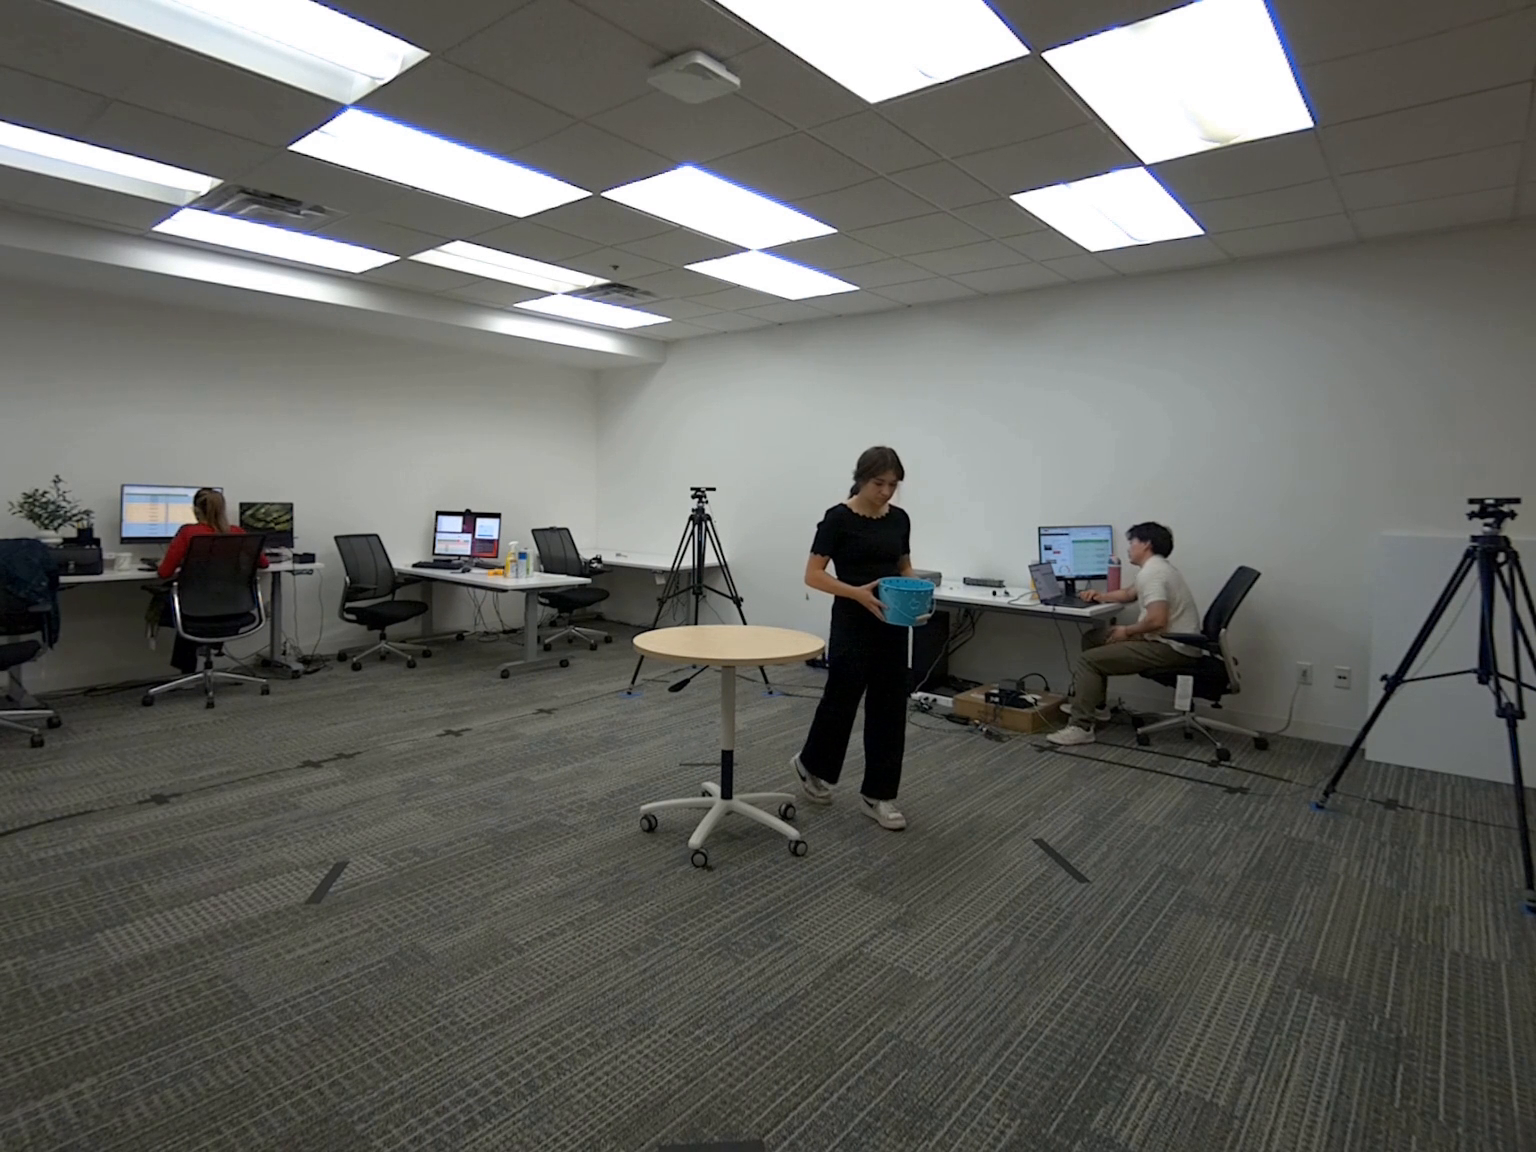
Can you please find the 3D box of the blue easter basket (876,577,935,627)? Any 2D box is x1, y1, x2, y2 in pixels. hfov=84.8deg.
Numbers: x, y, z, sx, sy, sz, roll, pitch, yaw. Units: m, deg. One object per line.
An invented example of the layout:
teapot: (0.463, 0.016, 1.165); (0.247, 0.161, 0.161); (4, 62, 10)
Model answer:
blue easter basket: (0.548, 0.103, 3.418); (0.243, 0.155, 0.246); (2, 9, -2)
